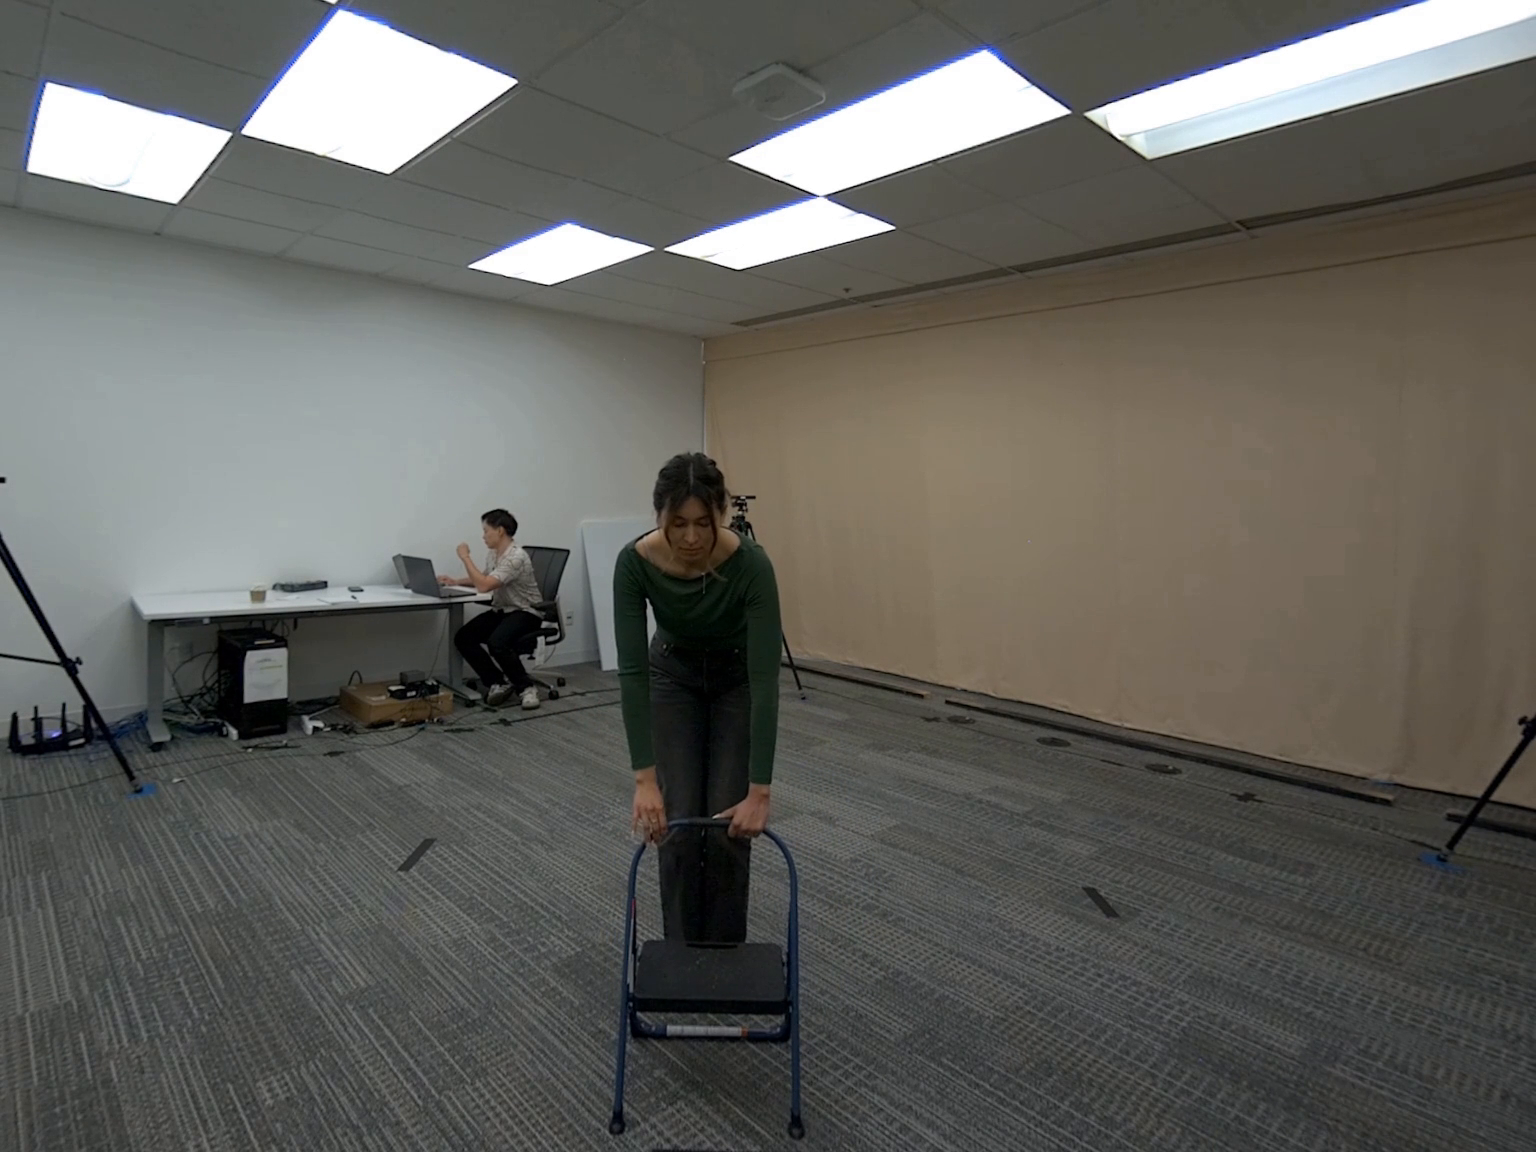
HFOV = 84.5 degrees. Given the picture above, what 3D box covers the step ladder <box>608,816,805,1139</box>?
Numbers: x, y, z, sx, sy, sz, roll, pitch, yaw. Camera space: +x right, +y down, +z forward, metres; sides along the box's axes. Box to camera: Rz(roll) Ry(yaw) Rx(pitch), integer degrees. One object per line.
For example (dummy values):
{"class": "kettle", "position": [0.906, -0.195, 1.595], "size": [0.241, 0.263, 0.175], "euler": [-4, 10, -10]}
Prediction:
{"class": "step ladder", "position": [-0.136, 0.907, 1.988], "size": [0.430, 0.604, 0.350], "euler": [2, 4, -1]}
